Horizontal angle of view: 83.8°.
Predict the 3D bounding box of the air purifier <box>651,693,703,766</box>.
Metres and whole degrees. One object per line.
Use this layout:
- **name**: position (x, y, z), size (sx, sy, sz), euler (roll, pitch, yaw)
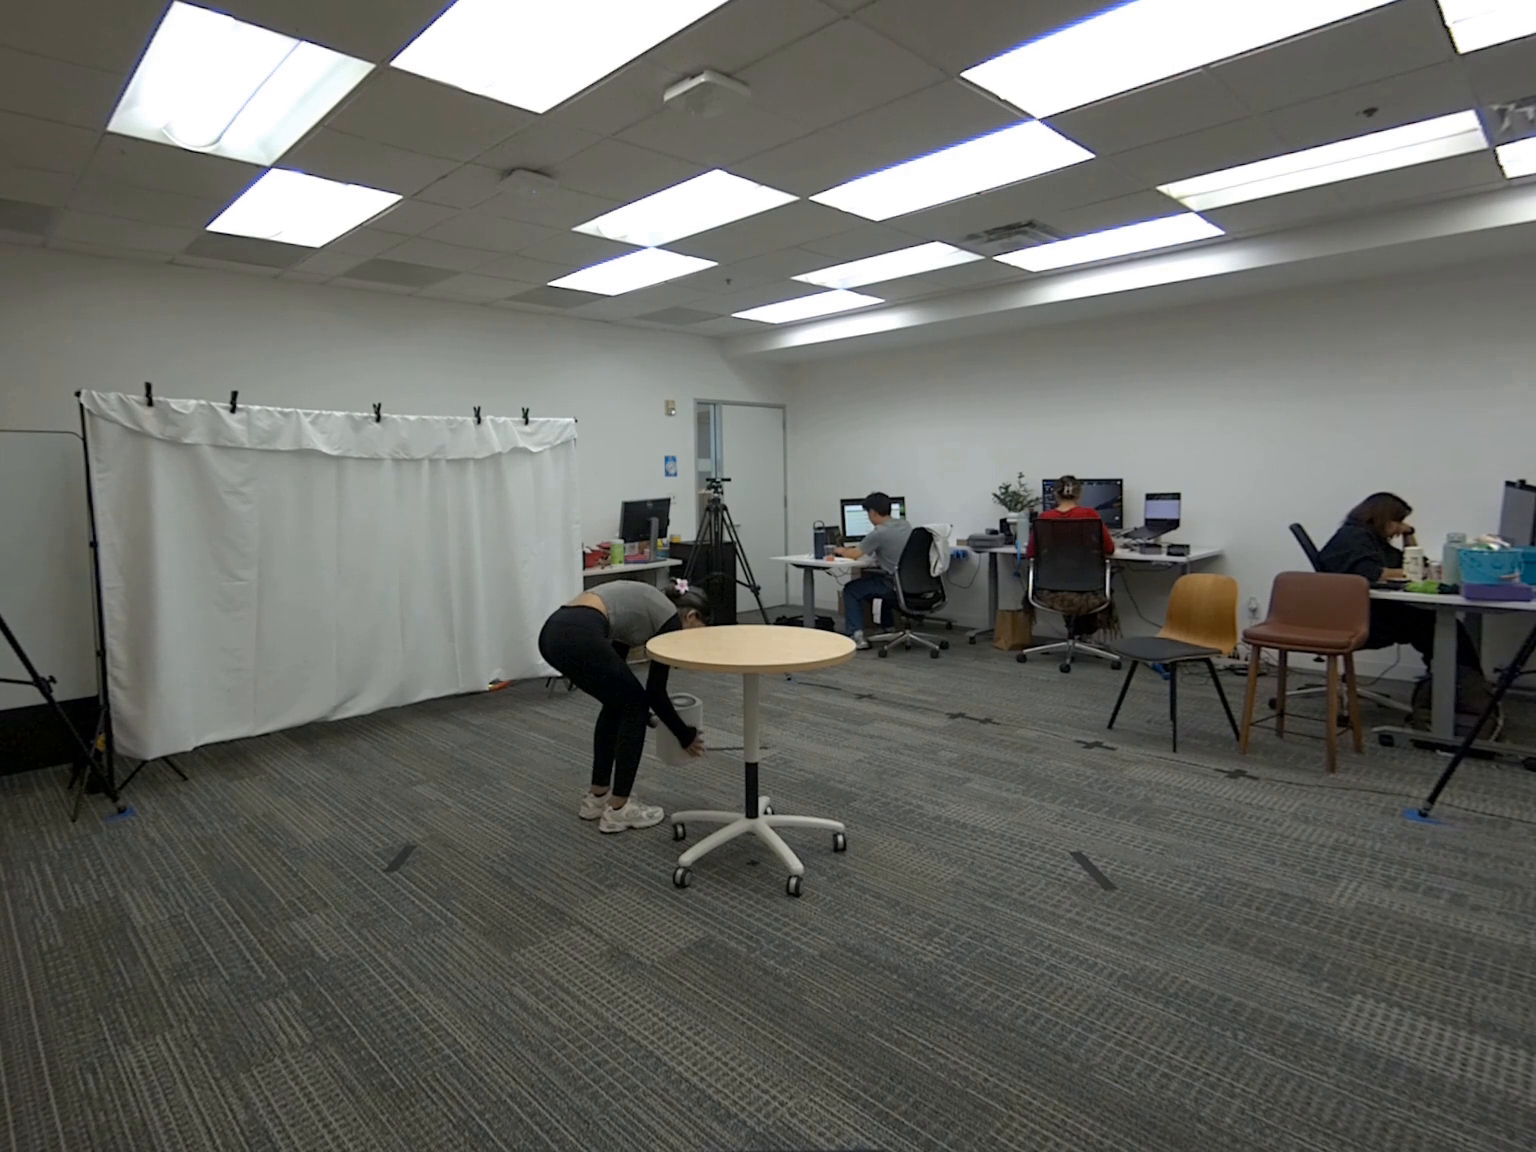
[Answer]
- **air purifier**: position (-0.385, 0.660, 3.695), size (0.167, 0.263, 0.177), euler (-6, 13, -37)
